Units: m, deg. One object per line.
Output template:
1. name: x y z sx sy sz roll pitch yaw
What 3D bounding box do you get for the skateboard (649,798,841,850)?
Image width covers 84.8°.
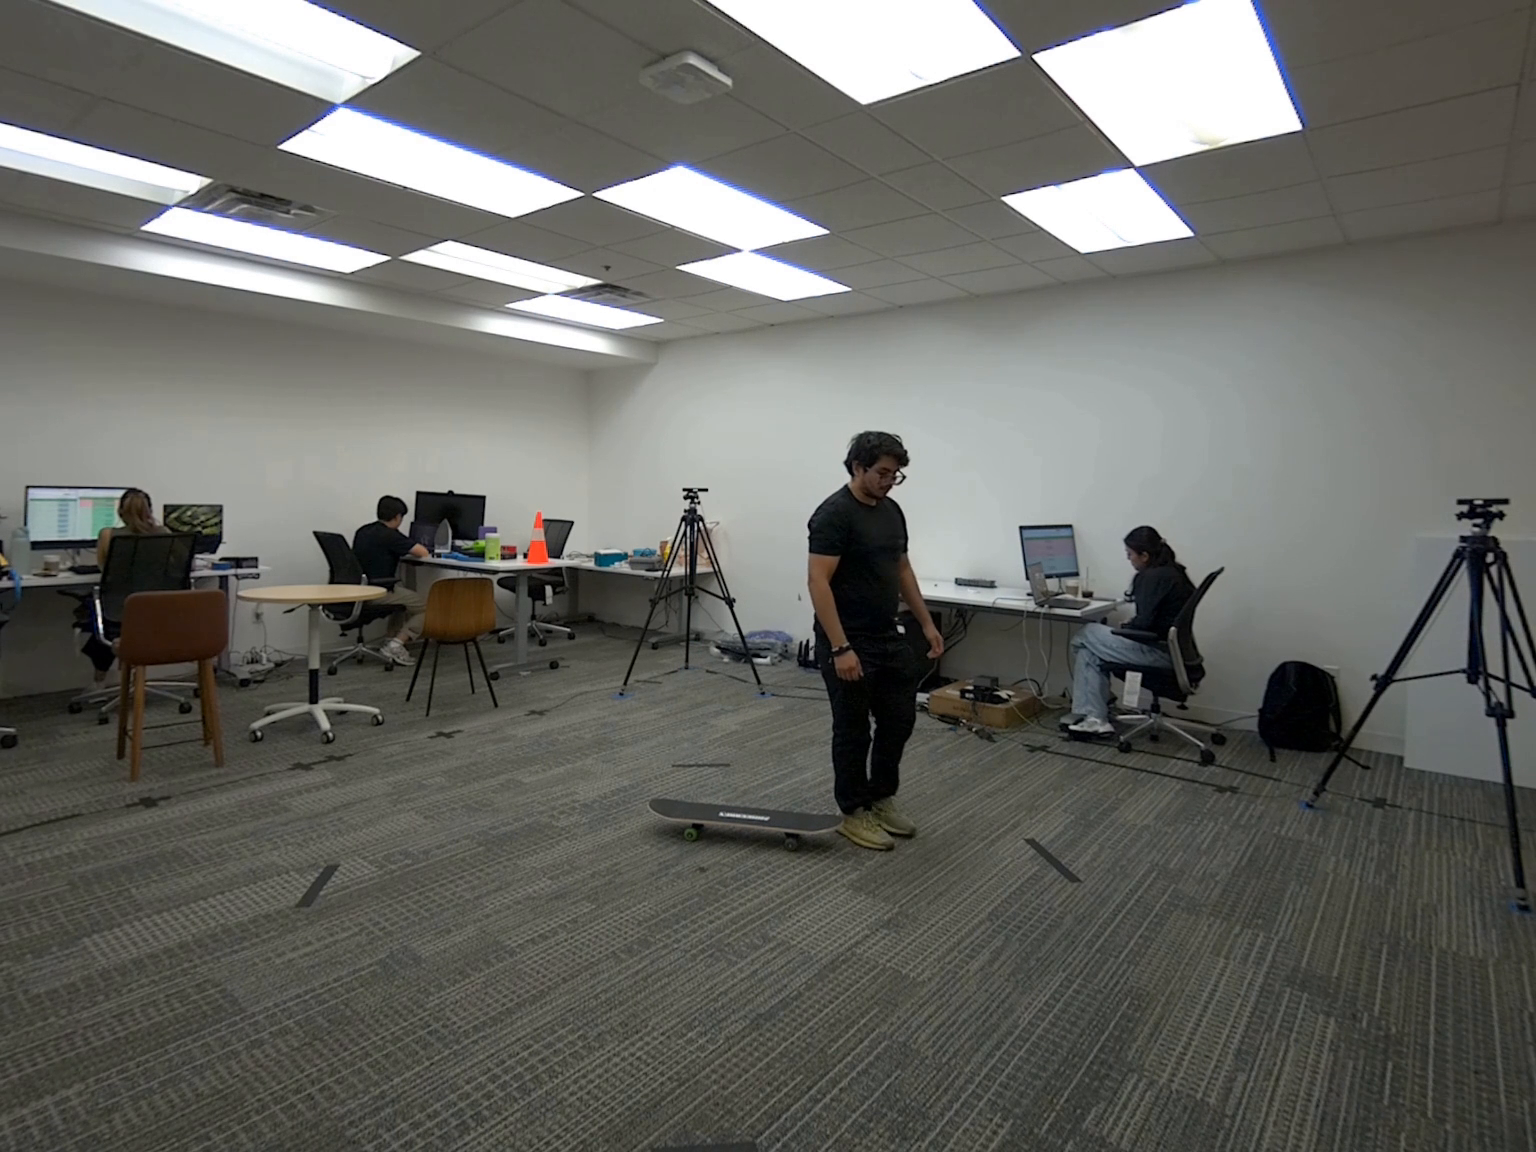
1. skateboard: -0.107 0.986 3.401 0.794 0.110 0.192 3 5 10
